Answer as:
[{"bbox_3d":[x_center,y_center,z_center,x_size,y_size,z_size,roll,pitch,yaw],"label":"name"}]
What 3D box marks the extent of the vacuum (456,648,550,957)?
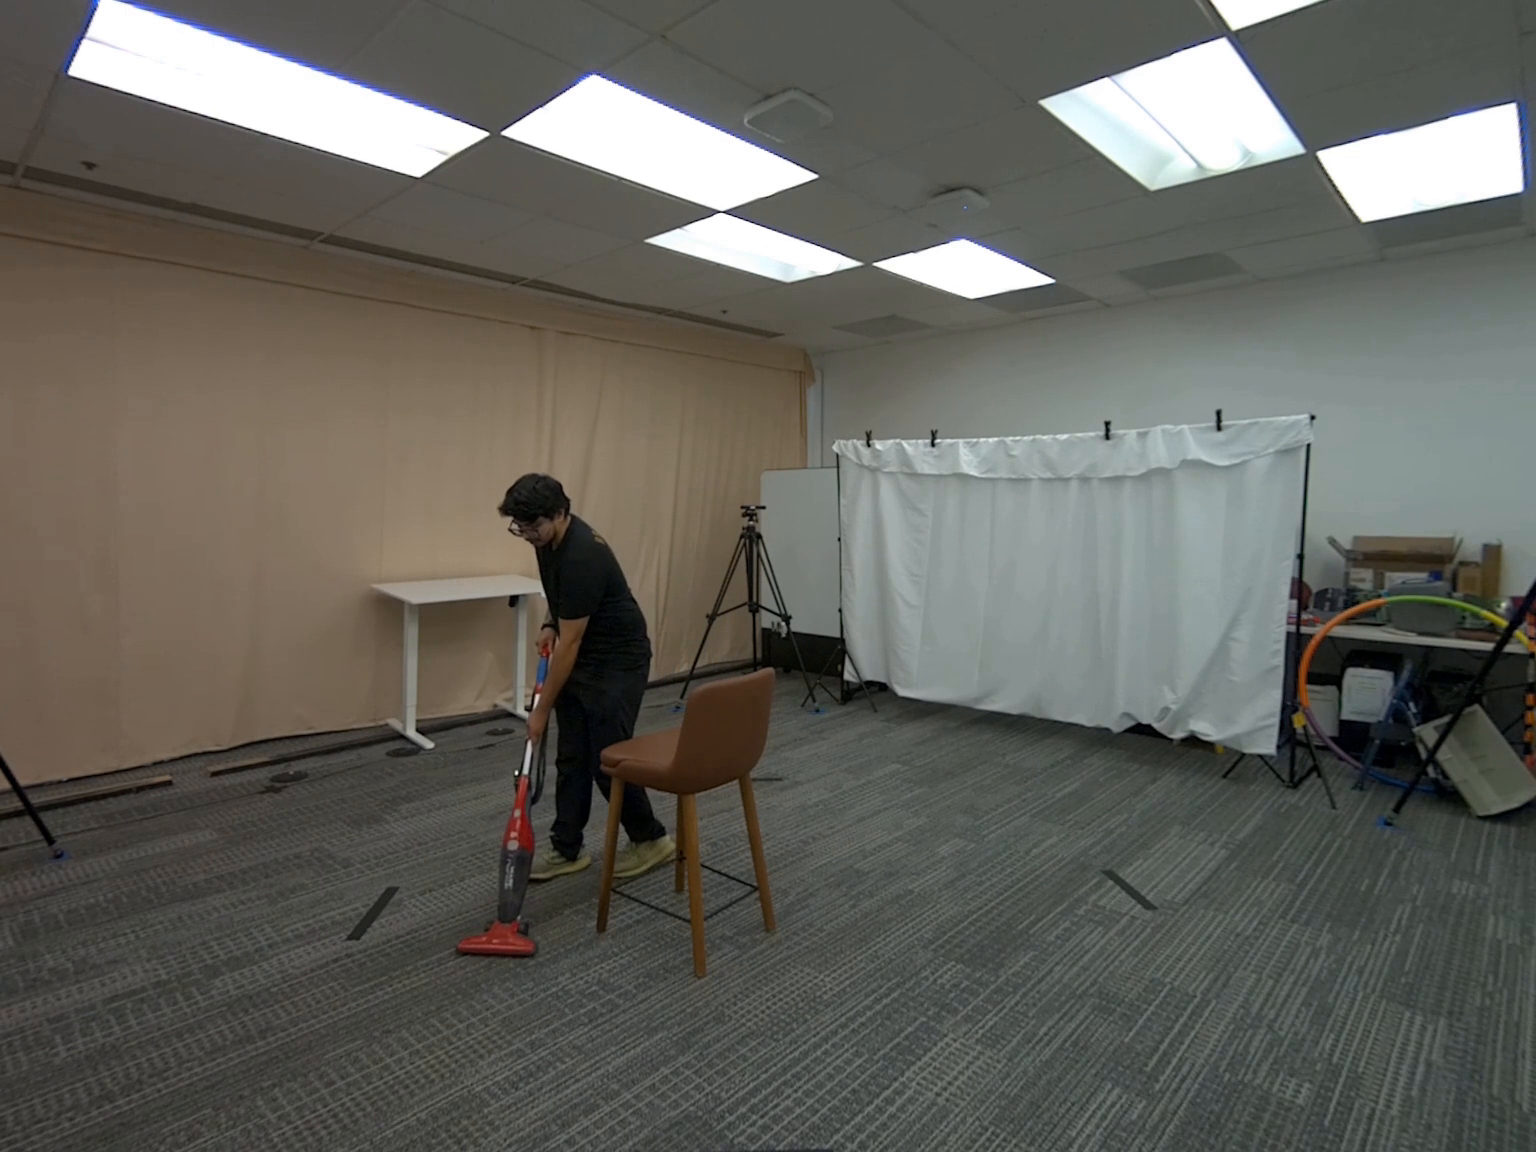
[{"bbox_3d":[-0.824,0.696,2.936,0.255,1.064,0.141,-1,-29,7],"label":"vacuum"}]
